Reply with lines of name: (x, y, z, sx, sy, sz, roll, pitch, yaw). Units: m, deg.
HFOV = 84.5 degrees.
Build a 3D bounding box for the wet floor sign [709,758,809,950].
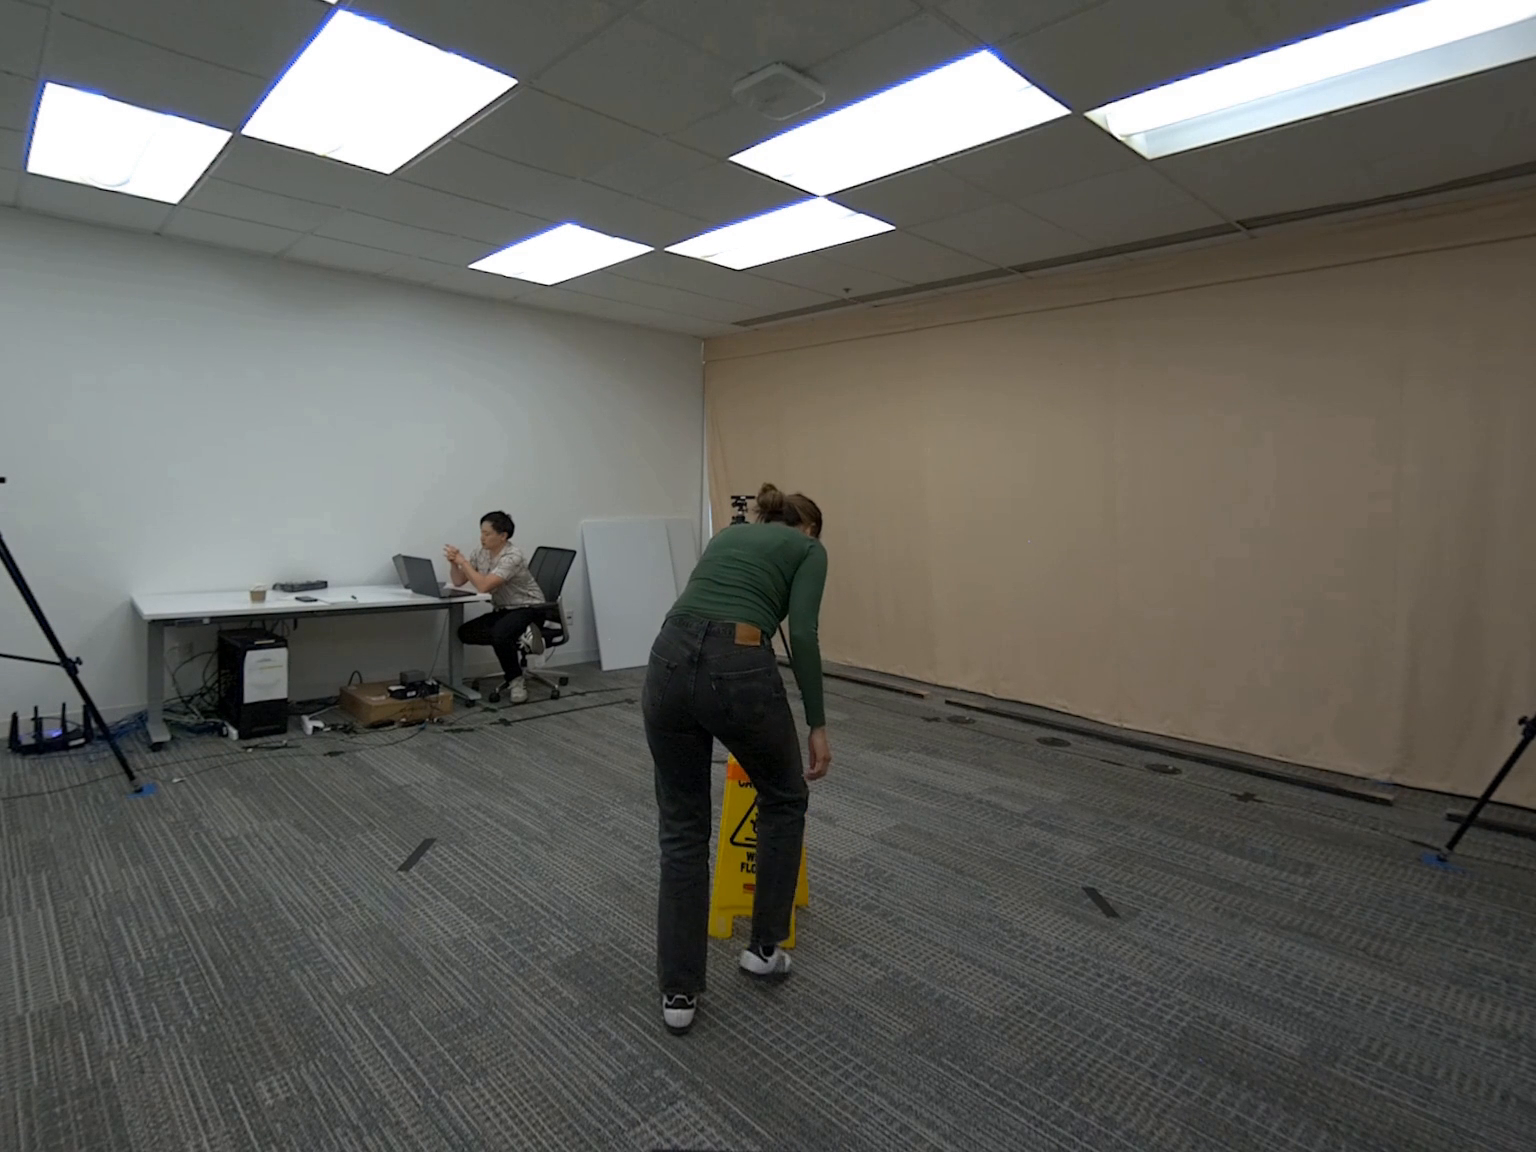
wet floor sign: (-0.018, 0.817, 2.763, 0.285, 0.645, 0.287, 4, 3, 12)
